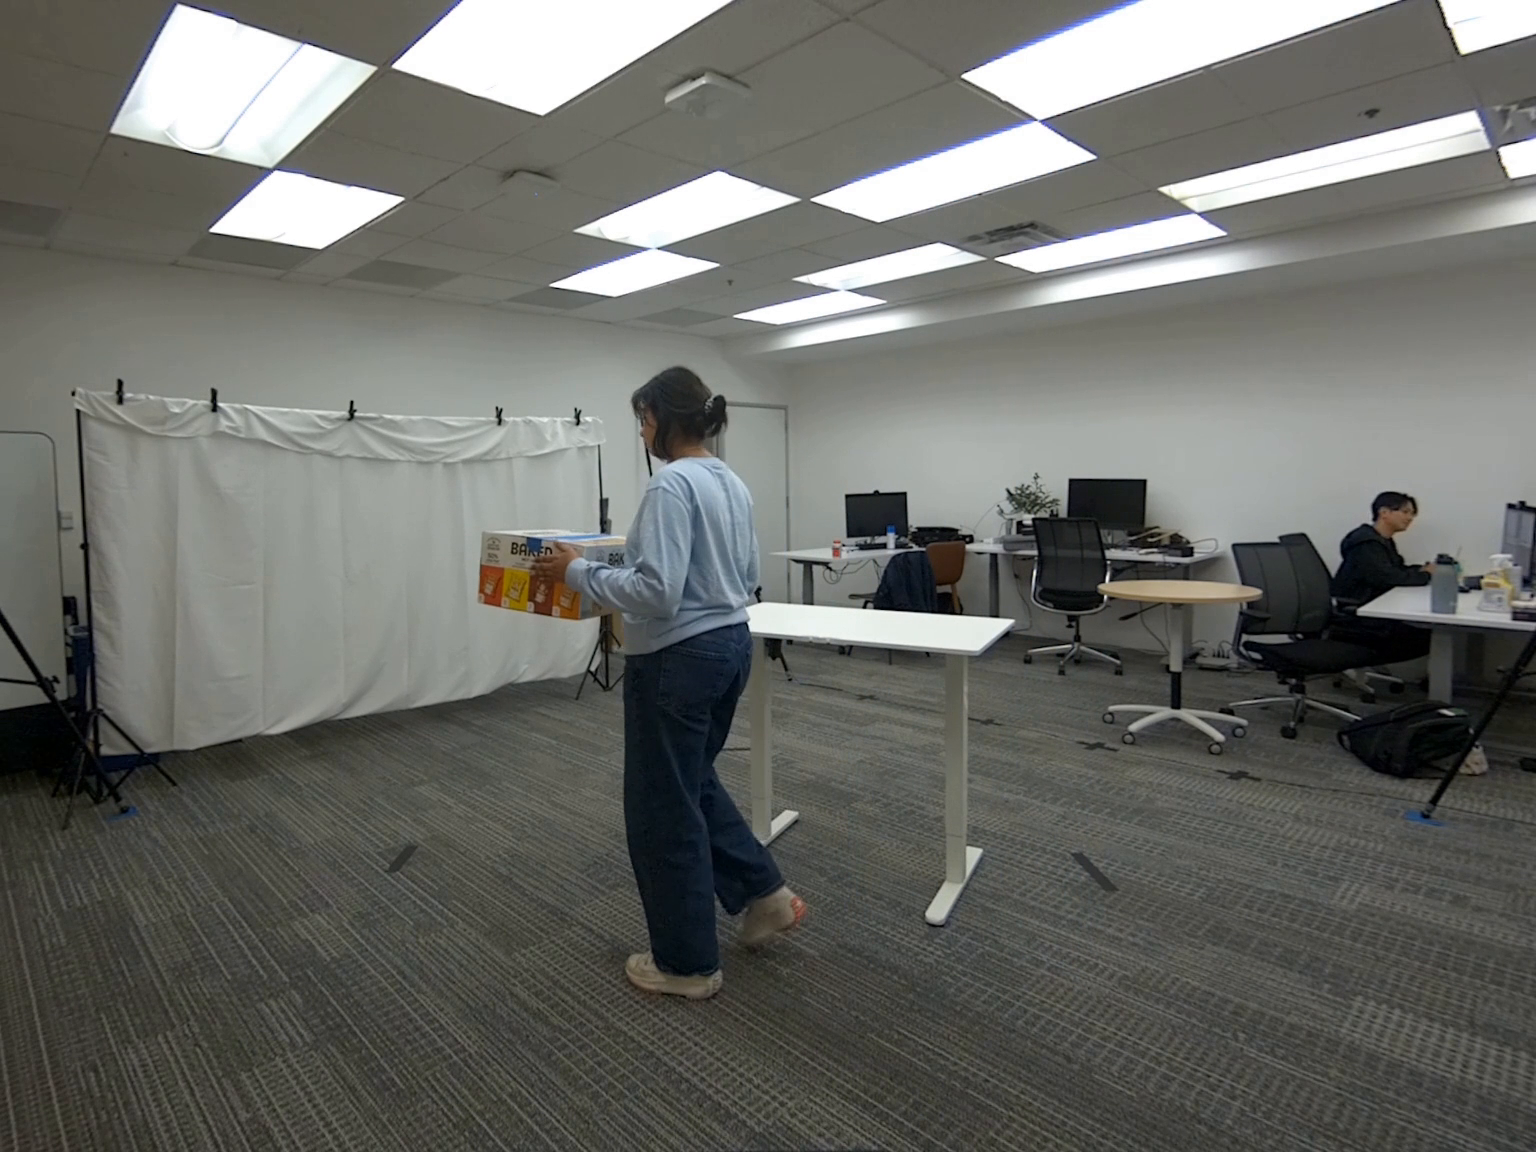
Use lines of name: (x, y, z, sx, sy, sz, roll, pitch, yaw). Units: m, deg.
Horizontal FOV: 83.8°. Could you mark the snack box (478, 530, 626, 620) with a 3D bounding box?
snack box: (-0.572, -0.018, 2.497, 0.348, 0.205, 0.397, 6, 6, 22)
